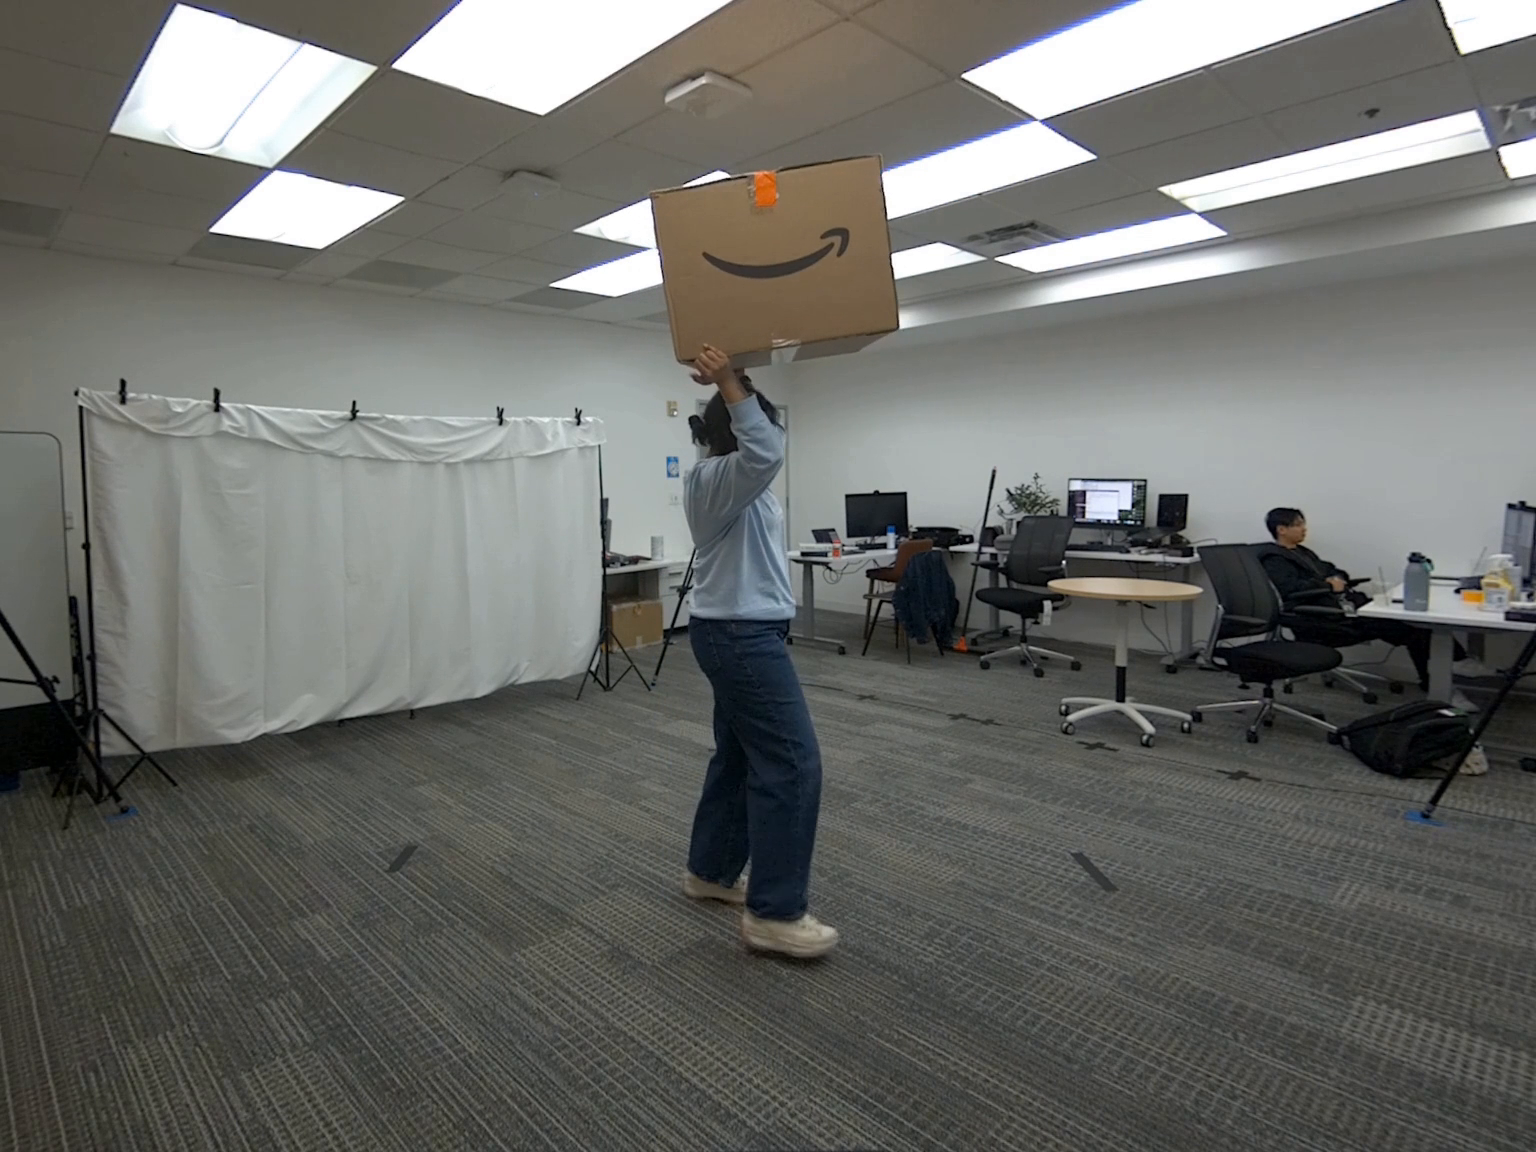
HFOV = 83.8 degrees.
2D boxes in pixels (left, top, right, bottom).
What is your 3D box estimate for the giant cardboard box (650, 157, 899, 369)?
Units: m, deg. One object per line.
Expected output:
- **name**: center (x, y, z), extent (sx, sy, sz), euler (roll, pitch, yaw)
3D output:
- **giant cardboard box**: center (0.029, -0.894, 2.620), extent (0.579, 0.422, 1.033), euler (-8, 11, 3)
